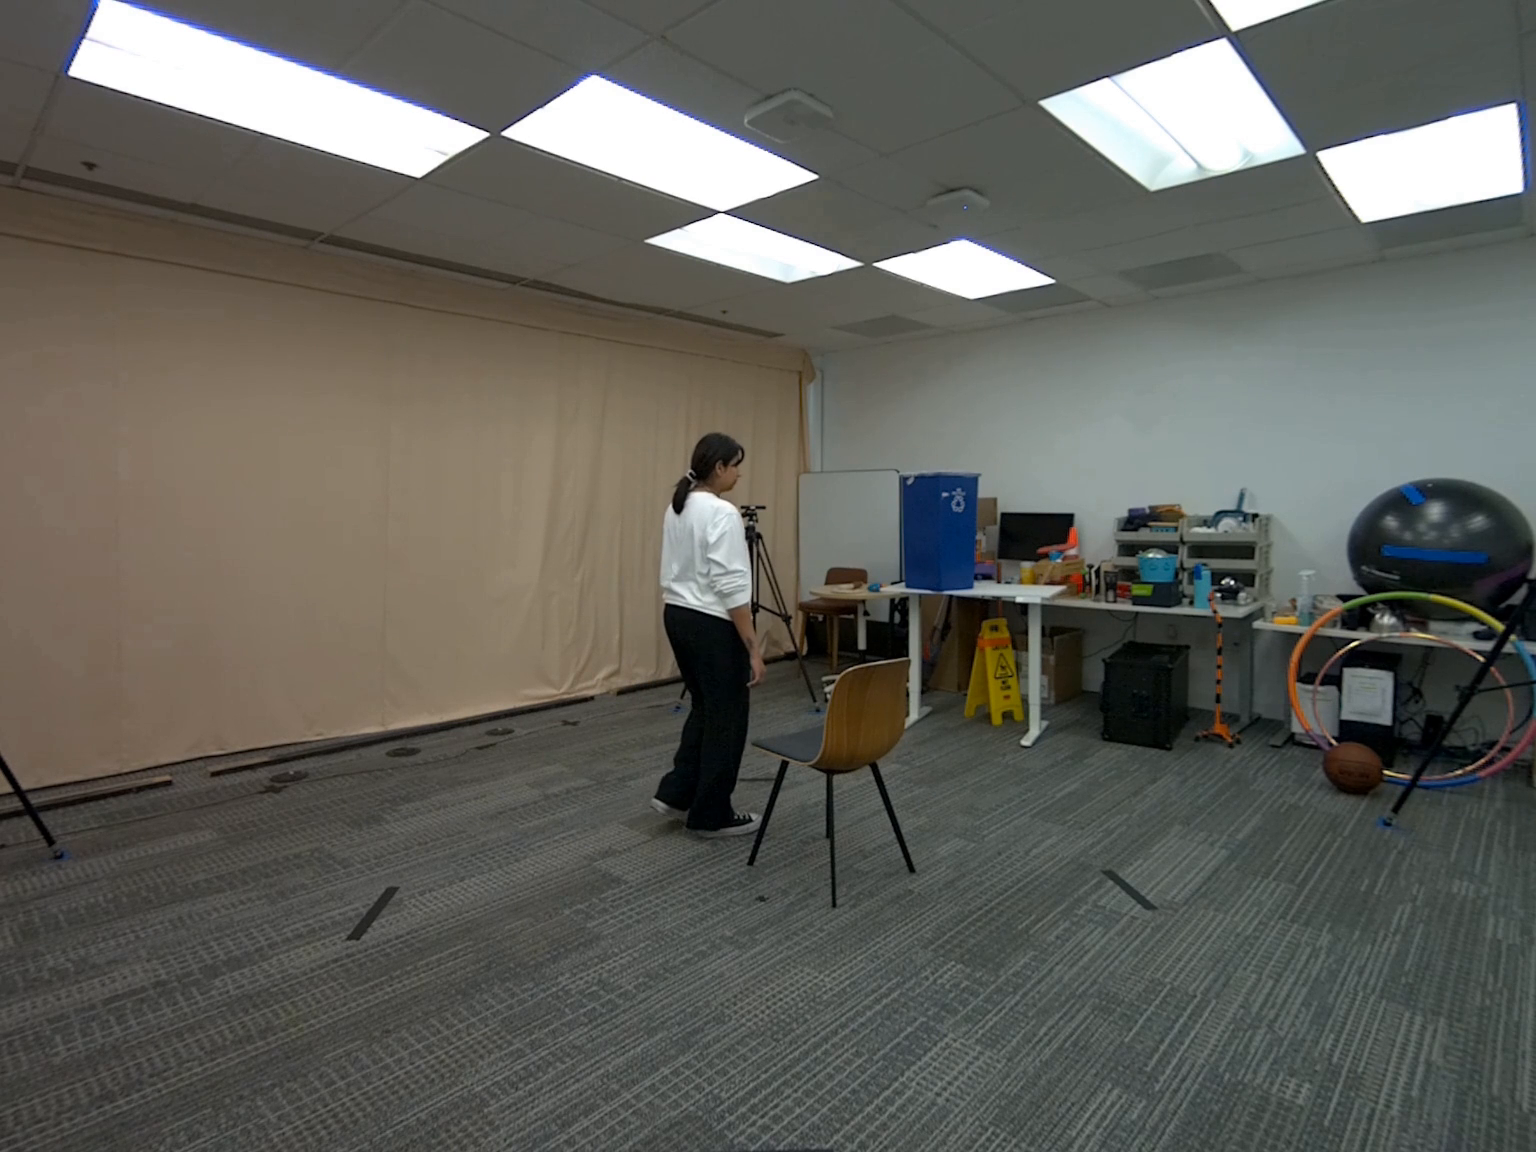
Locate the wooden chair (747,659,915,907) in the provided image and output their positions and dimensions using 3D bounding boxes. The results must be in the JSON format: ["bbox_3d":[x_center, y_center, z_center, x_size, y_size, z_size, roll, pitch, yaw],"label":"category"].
[{"bbox_3d":[0.240,0.695,3.201,0.463,0.874,0.541,-3,9,-41],"label":"wooden chair"}]
